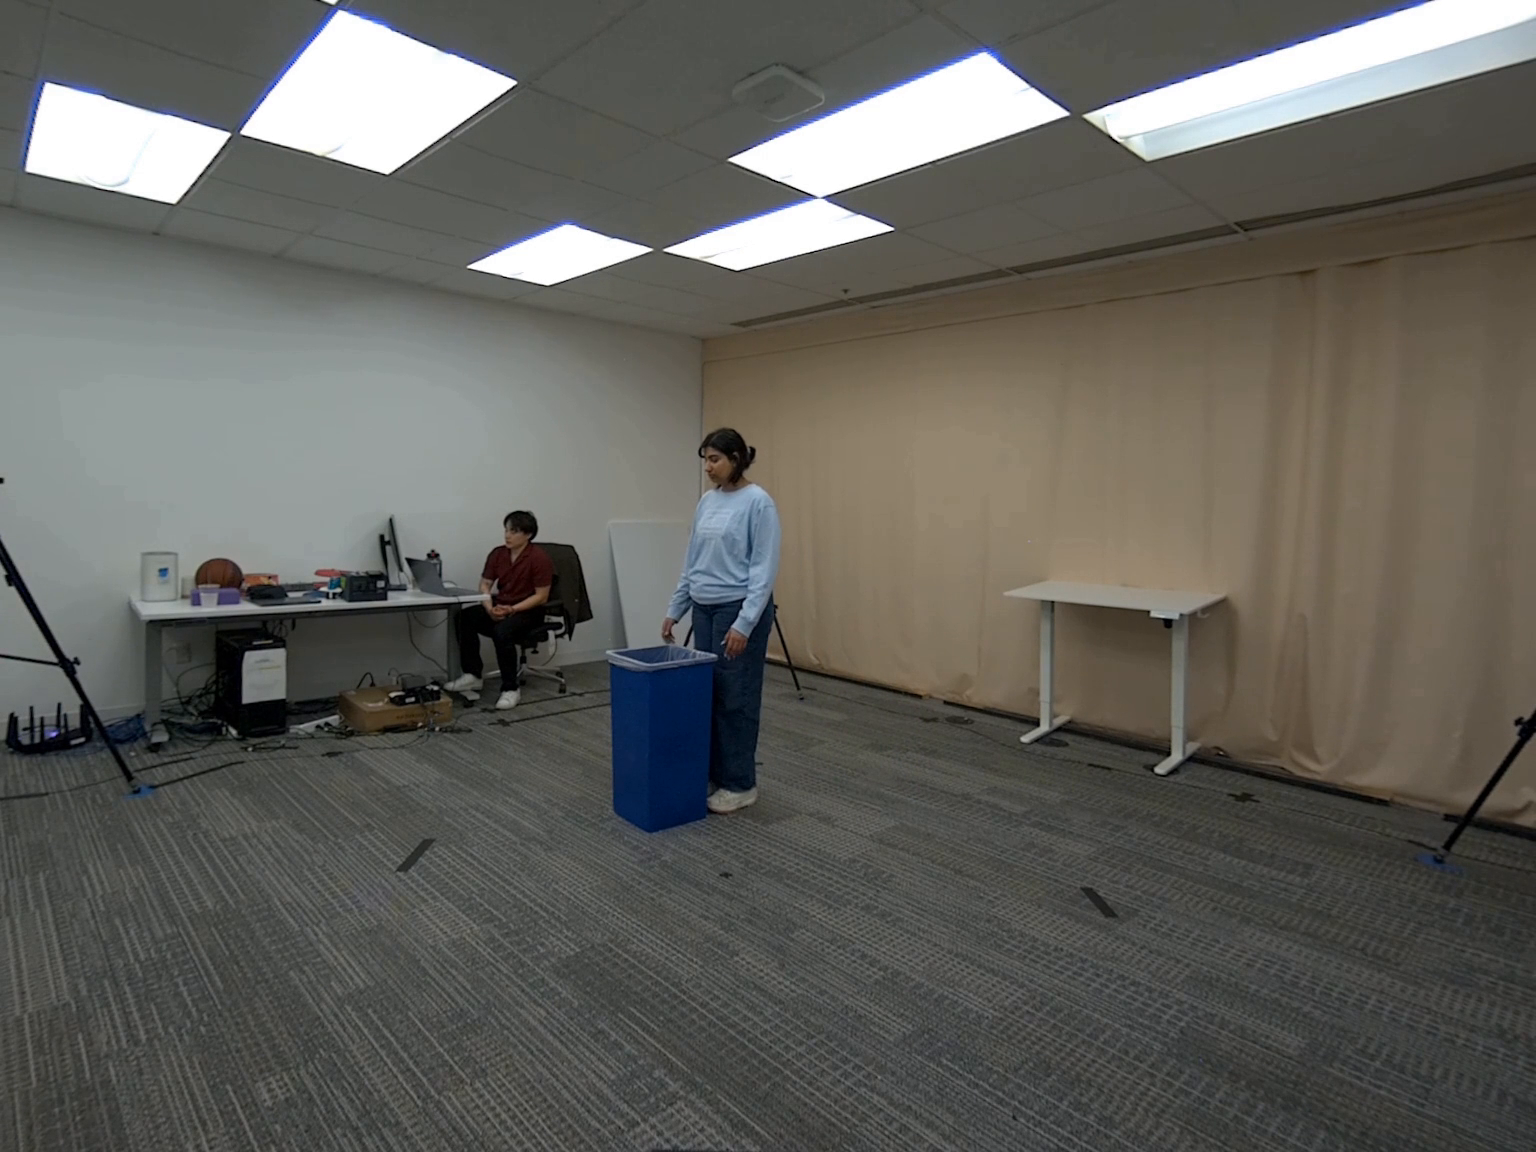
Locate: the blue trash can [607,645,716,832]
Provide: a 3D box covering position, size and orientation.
[{"bbox_3d":[-0.480,0.691,3.660,0.365,0.712,0.387,-1,4,-40],"label":"blue trash can"}]
